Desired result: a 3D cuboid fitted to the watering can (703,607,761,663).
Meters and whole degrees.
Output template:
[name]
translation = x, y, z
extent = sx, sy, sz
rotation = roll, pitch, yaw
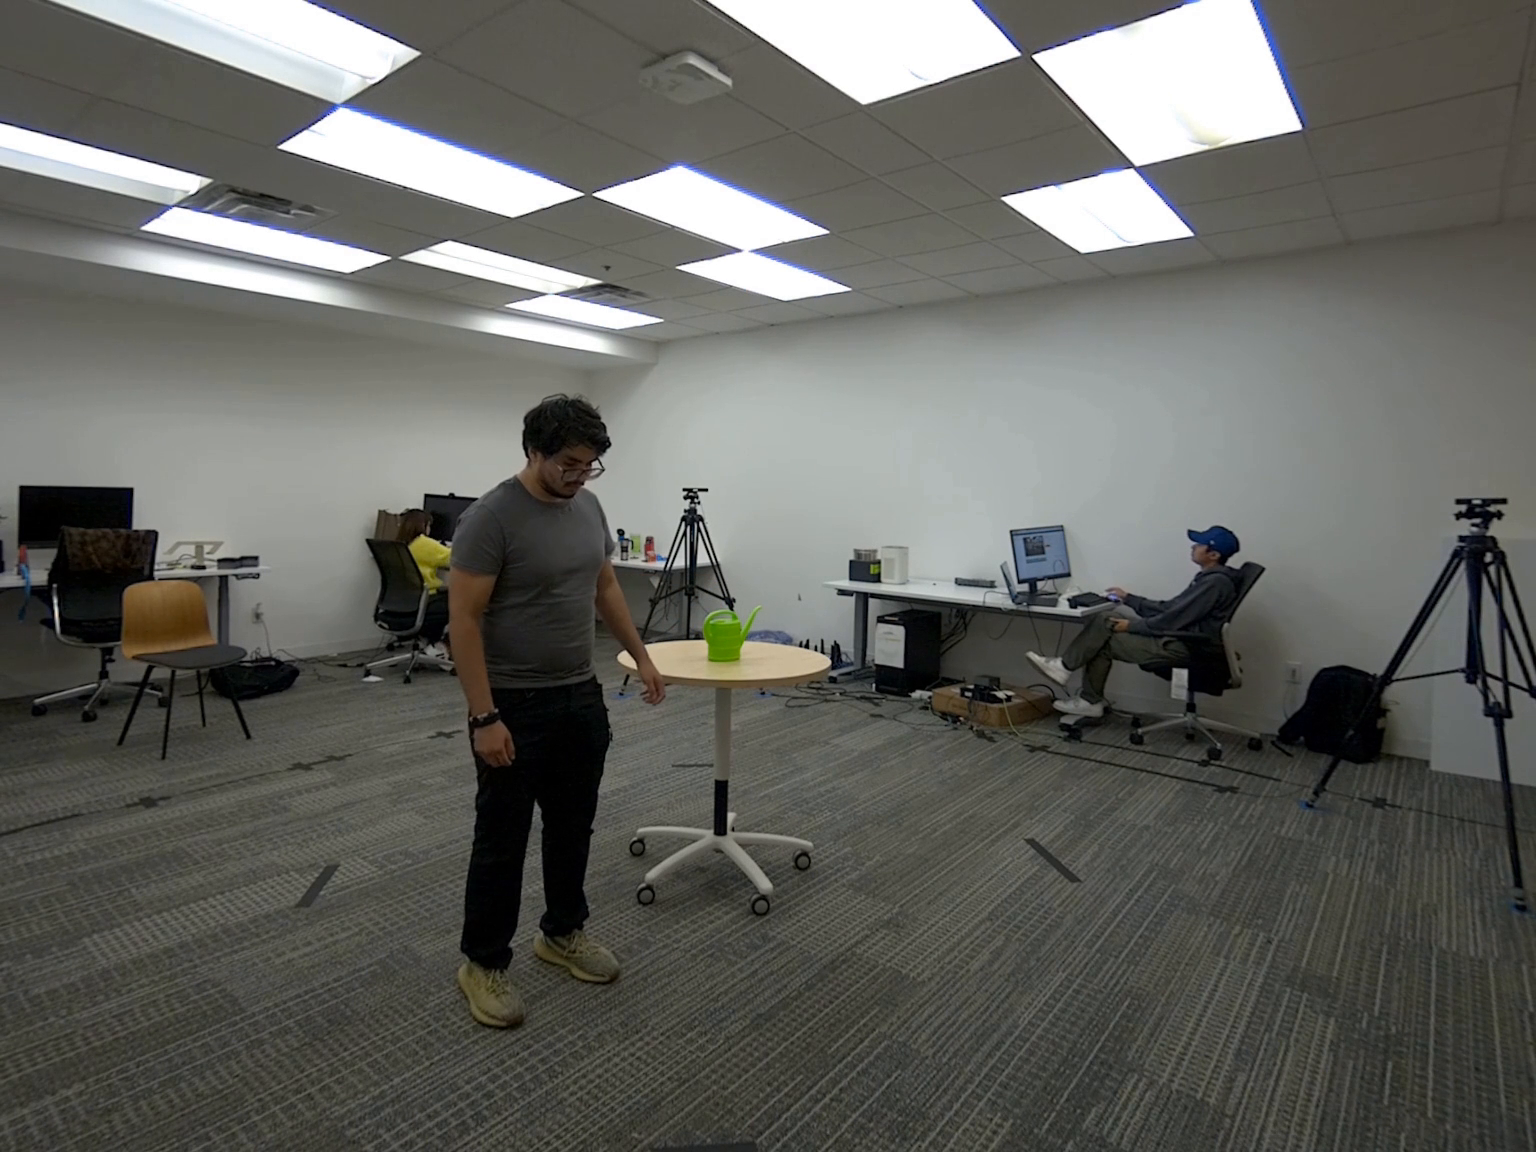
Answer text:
[watering can]
translation = -0.127, 0.205, 3.050
extent = 0.271, 0.176, 0.101
rotation = -2, 5, -27
